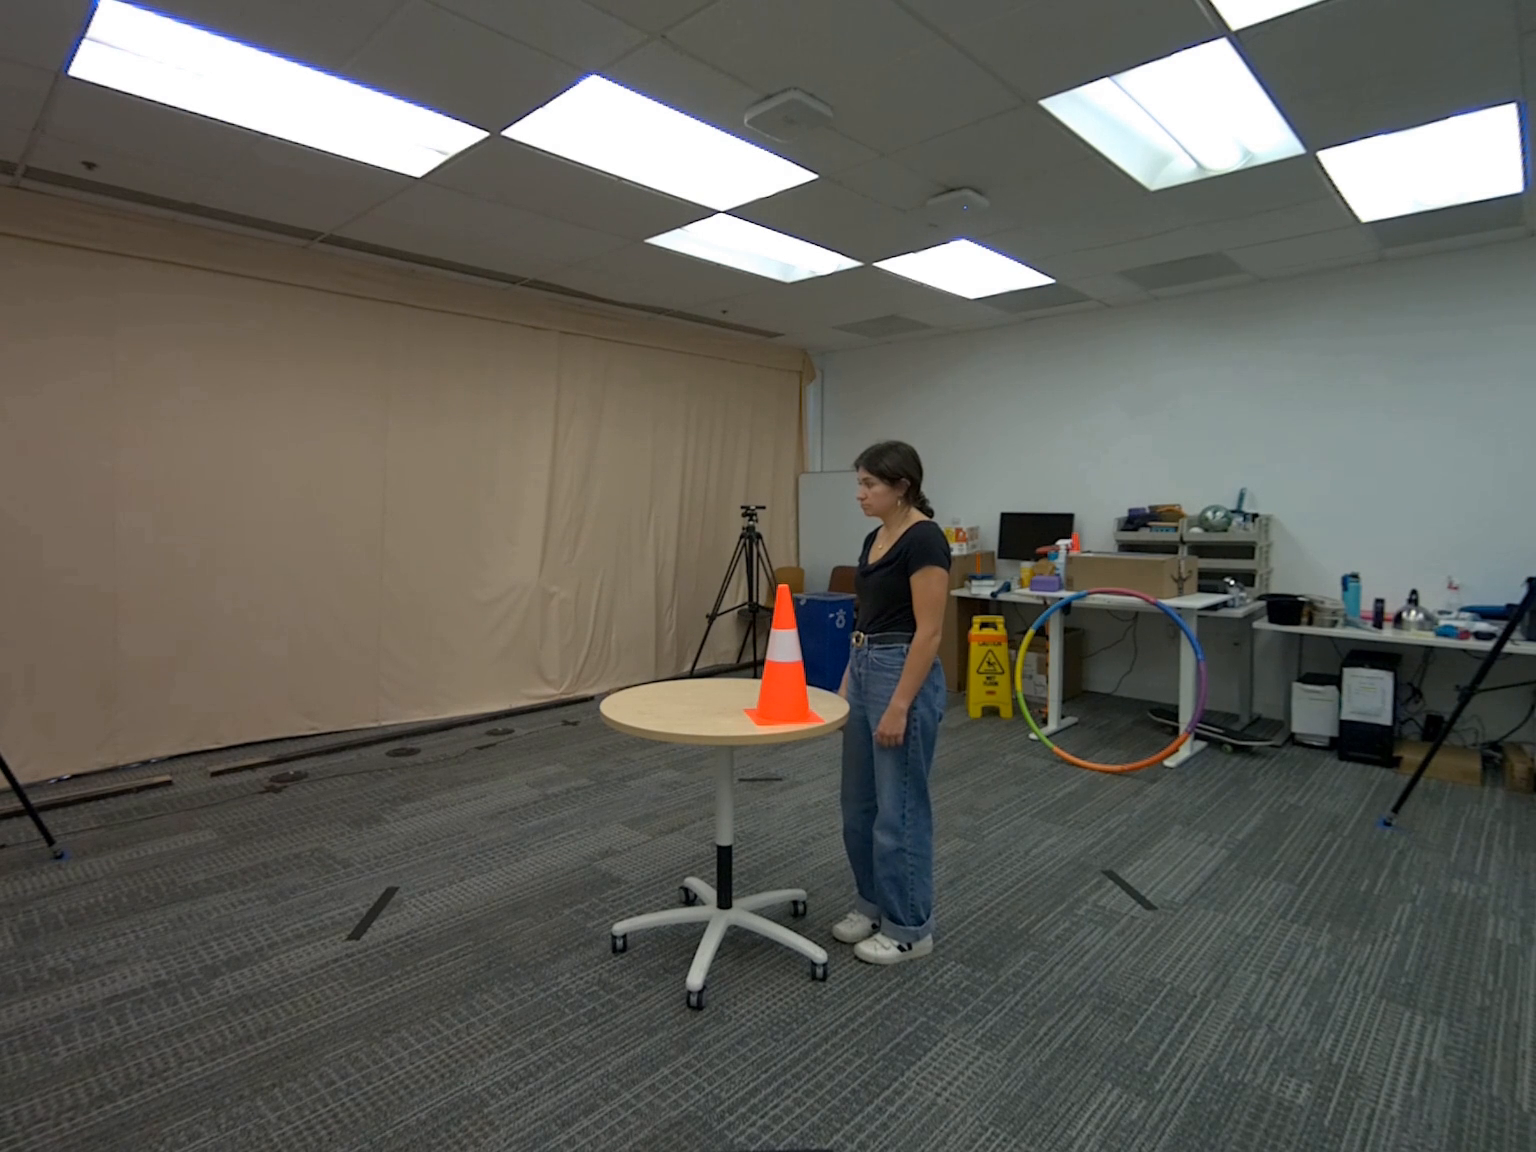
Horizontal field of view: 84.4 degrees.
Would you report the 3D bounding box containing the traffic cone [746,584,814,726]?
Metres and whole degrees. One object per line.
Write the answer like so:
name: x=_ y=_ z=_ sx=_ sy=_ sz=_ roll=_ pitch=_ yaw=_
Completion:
traffic cone: x=0.066 y=0.224 z=2.426 sx=0.201 sy=0.383 sz=0.207 roll=0 pitch=4 yaw=-9
